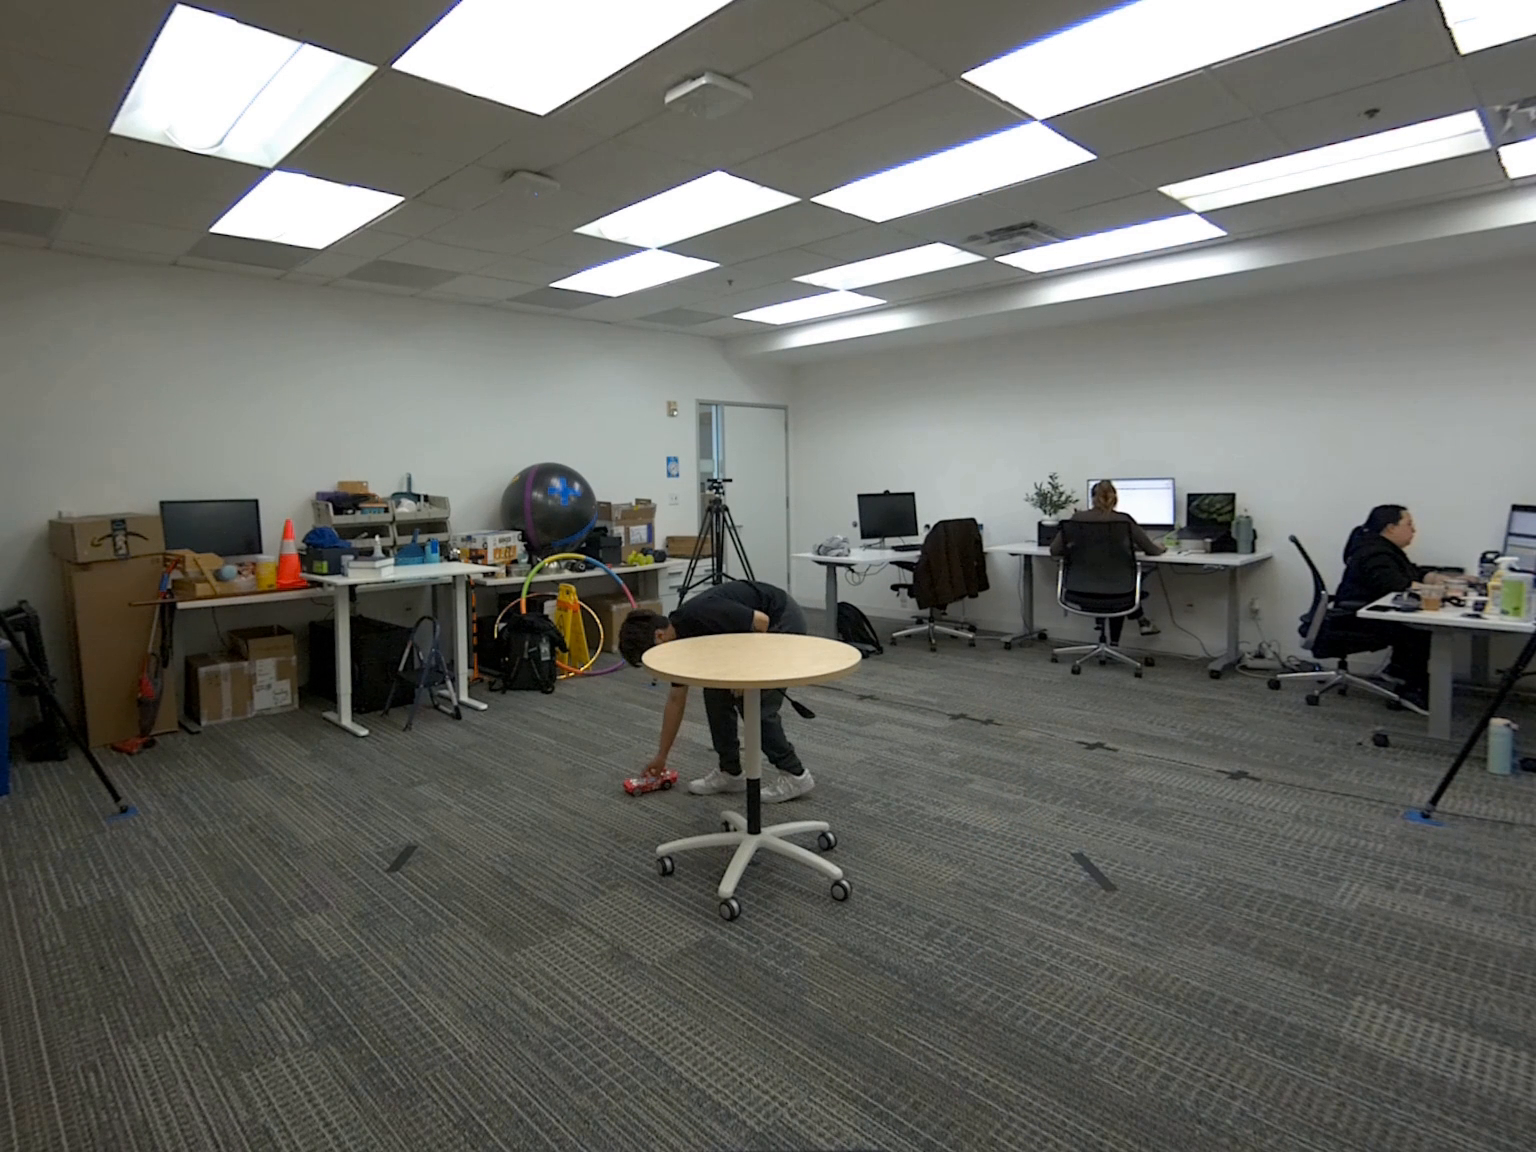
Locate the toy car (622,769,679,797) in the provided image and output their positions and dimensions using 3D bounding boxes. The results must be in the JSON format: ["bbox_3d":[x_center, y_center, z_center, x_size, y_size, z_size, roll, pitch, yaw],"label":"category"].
[{"bbox_3d":[-0.529,0.938,3.889,0.250,0.082,0.134,-16,13,-28],"label":"toy car"}]
